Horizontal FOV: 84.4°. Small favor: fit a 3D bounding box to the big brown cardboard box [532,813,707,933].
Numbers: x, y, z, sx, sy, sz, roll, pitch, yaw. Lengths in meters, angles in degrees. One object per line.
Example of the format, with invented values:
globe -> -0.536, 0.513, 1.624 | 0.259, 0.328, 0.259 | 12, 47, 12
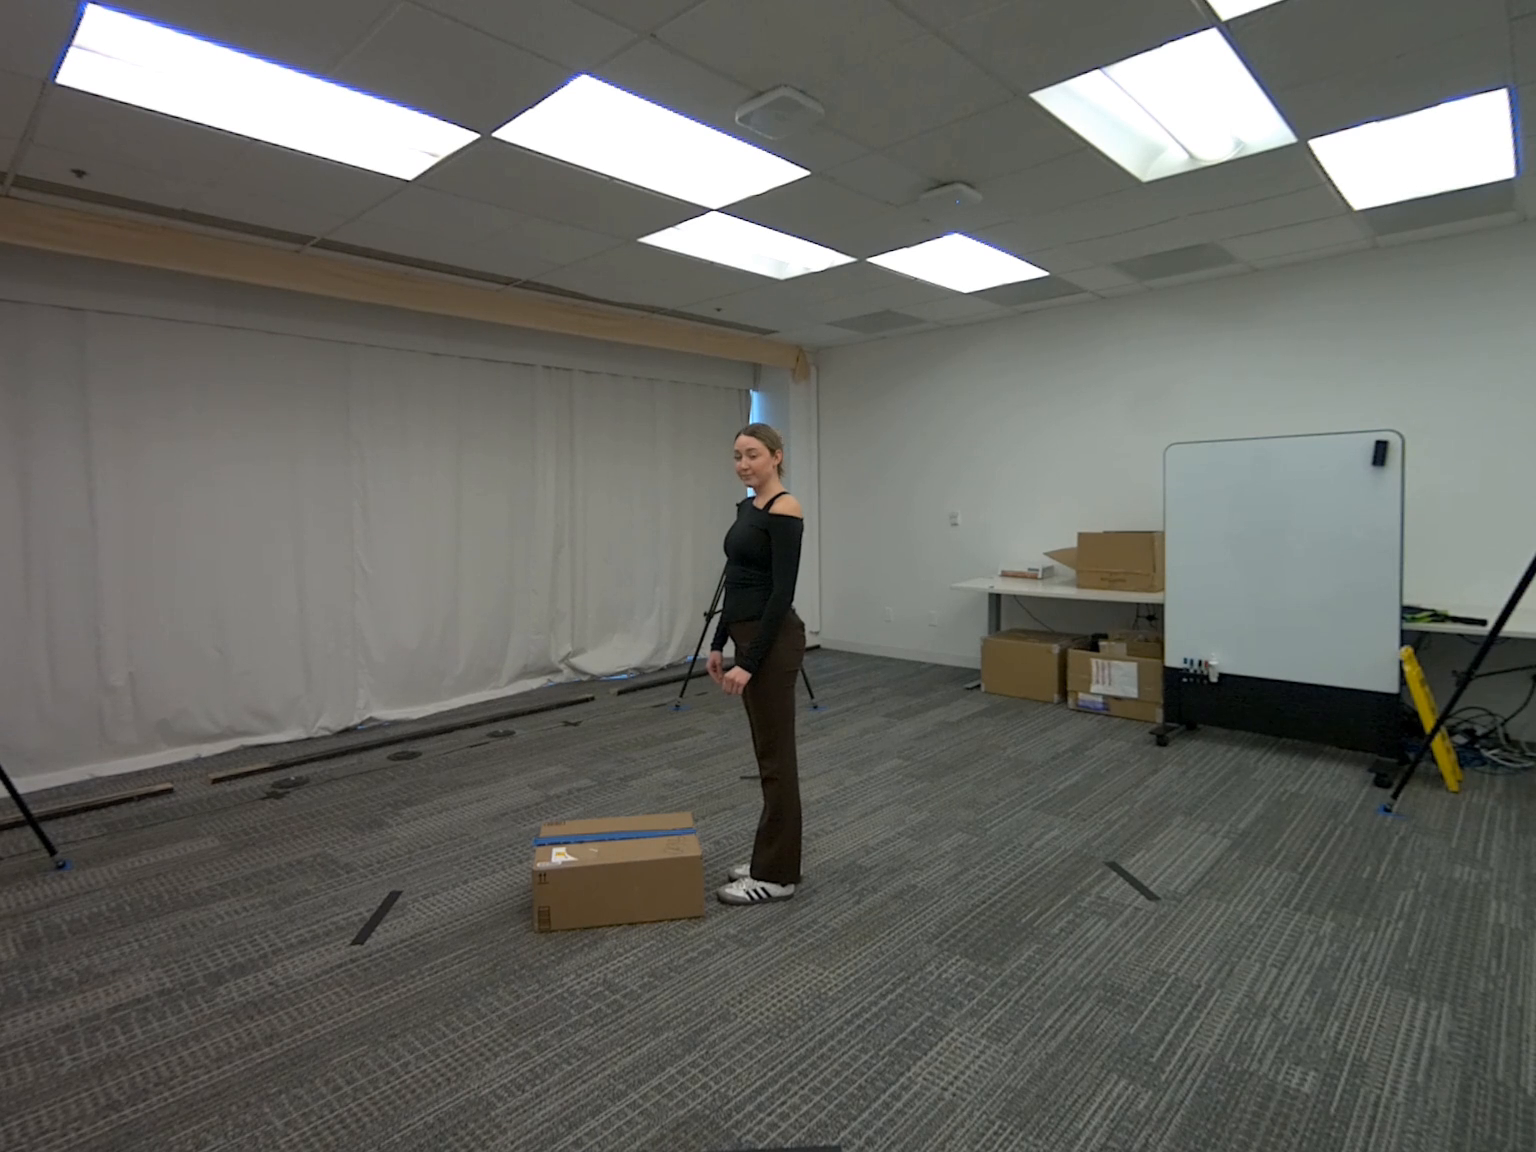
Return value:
big brown cardboard box -> -0.536, 1.036, 2.999 | 0.583, 0.232, 0.423 | -1, 4, -10
